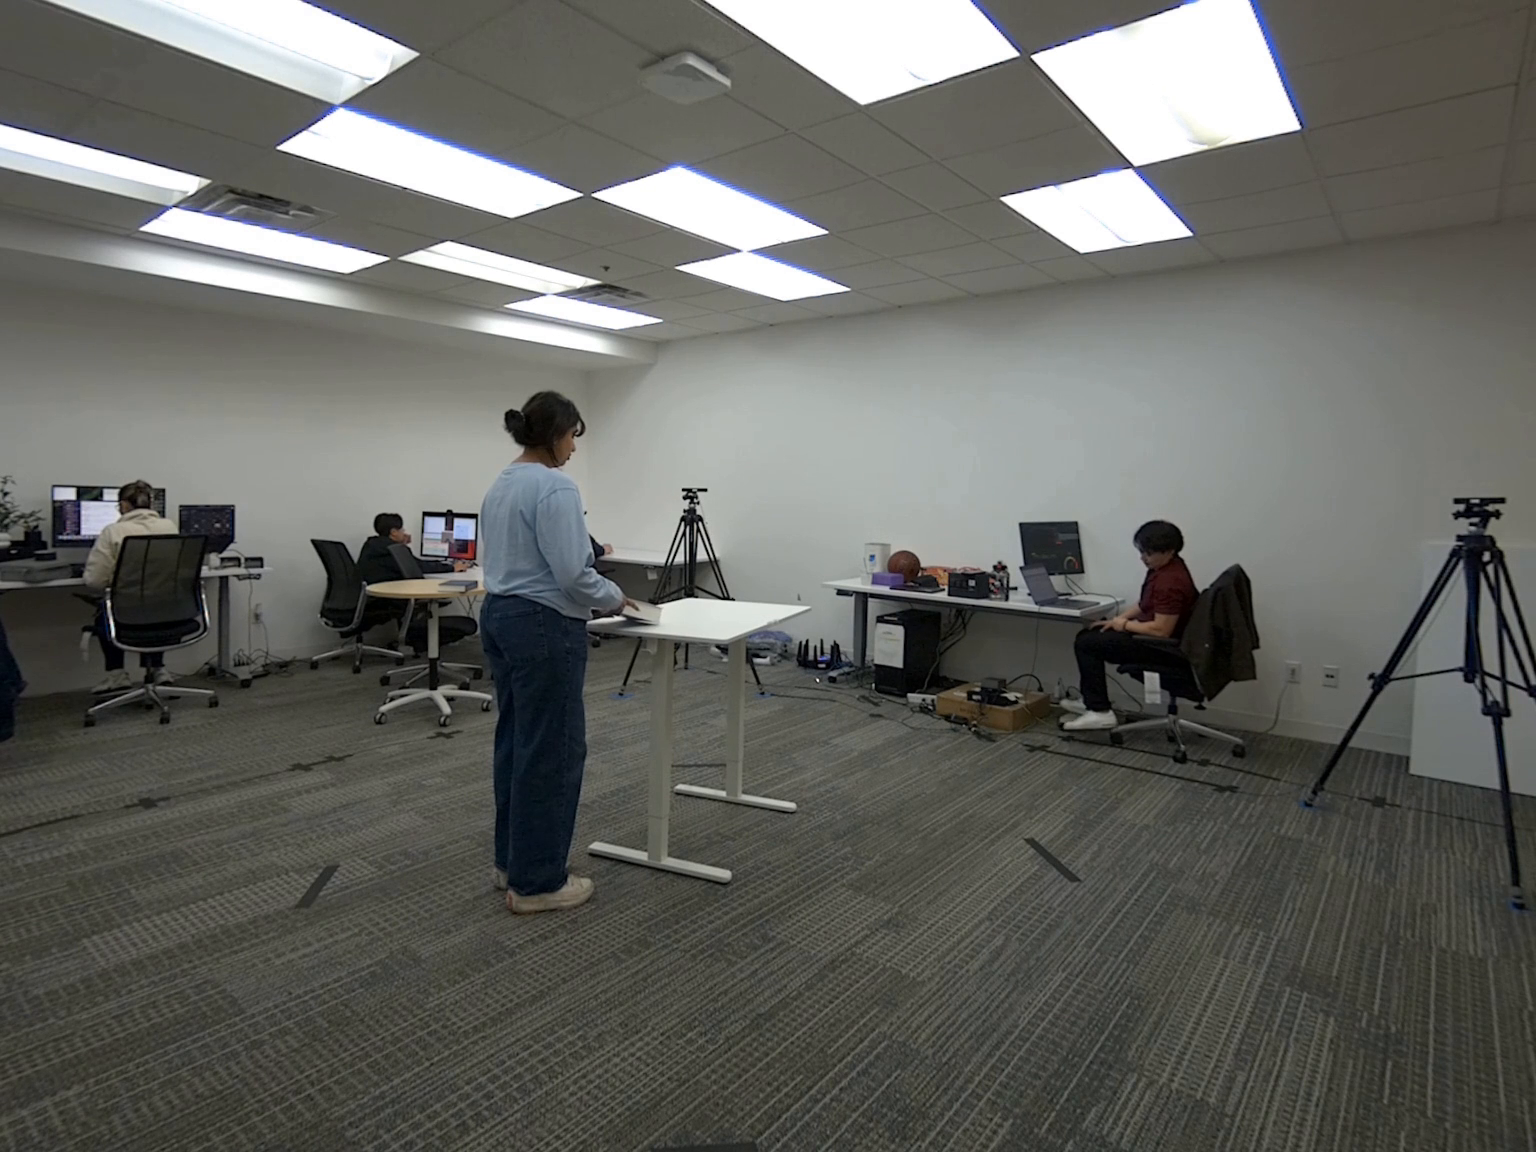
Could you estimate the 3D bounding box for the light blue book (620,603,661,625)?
[{"bbox_3d":[-0.549,0.121,3.119,0.197,0.059,0.251,2,-9,42],"label":"light blue book"}]
